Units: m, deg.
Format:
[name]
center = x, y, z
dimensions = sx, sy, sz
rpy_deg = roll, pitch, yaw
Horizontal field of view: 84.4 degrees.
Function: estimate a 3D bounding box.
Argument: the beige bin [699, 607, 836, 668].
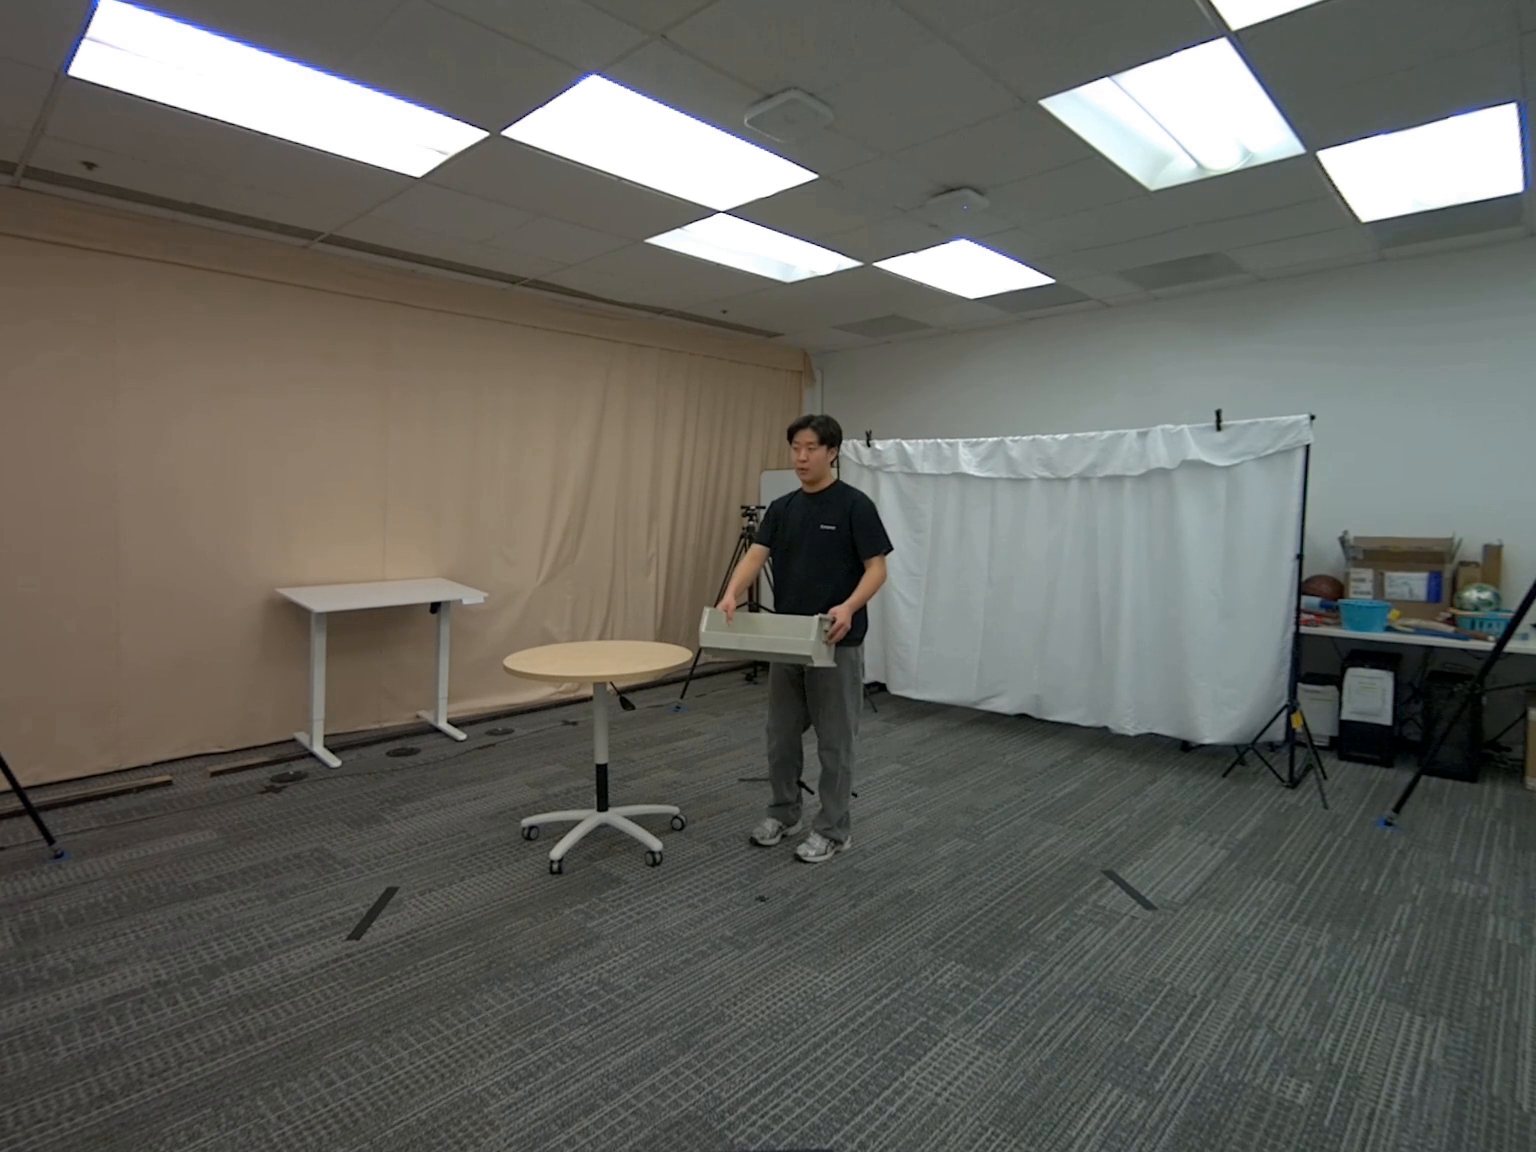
[beige bin]
center = 0.008, 0.224, 3.059
dimensions = 0.431, 0.190, 0.368
rpy_deg = 2, -7, 19
